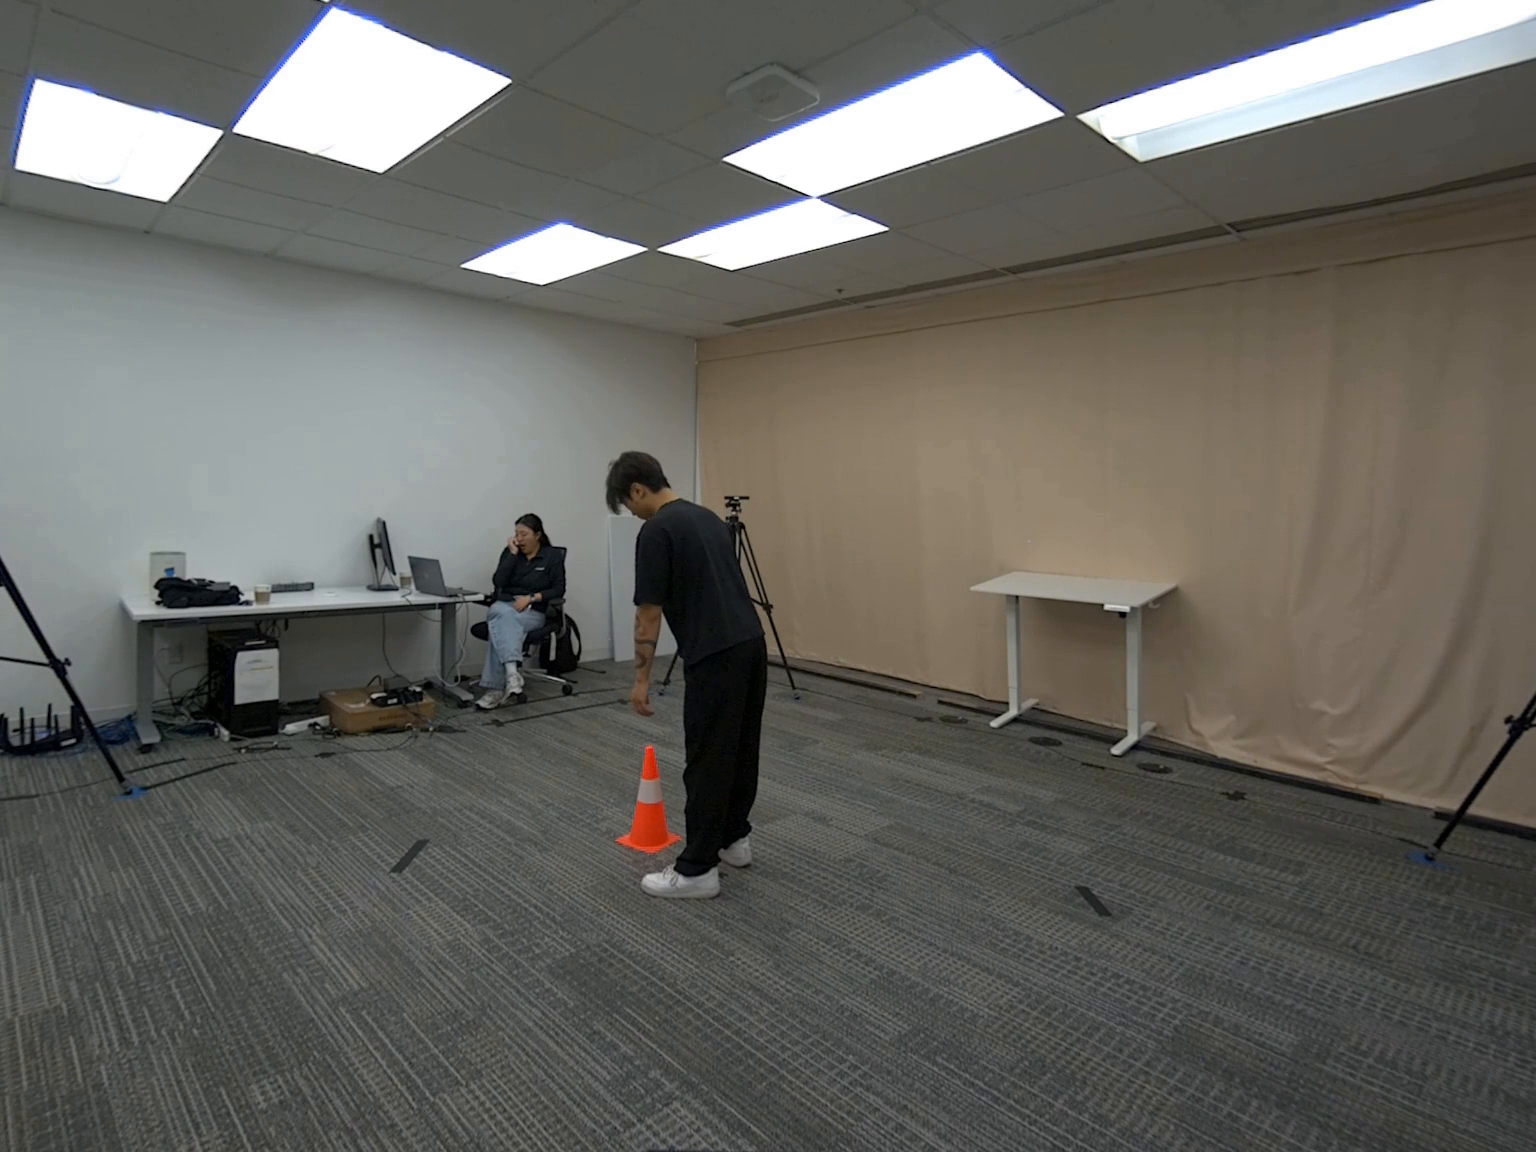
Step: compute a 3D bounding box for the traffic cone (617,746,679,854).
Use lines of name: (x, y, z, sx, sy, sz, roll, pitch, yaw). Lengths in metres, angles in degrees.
traffic cone: (-0.490, 0.883, 3.406, 0.210, 0.383, 0.199, 4, 3, 37)
